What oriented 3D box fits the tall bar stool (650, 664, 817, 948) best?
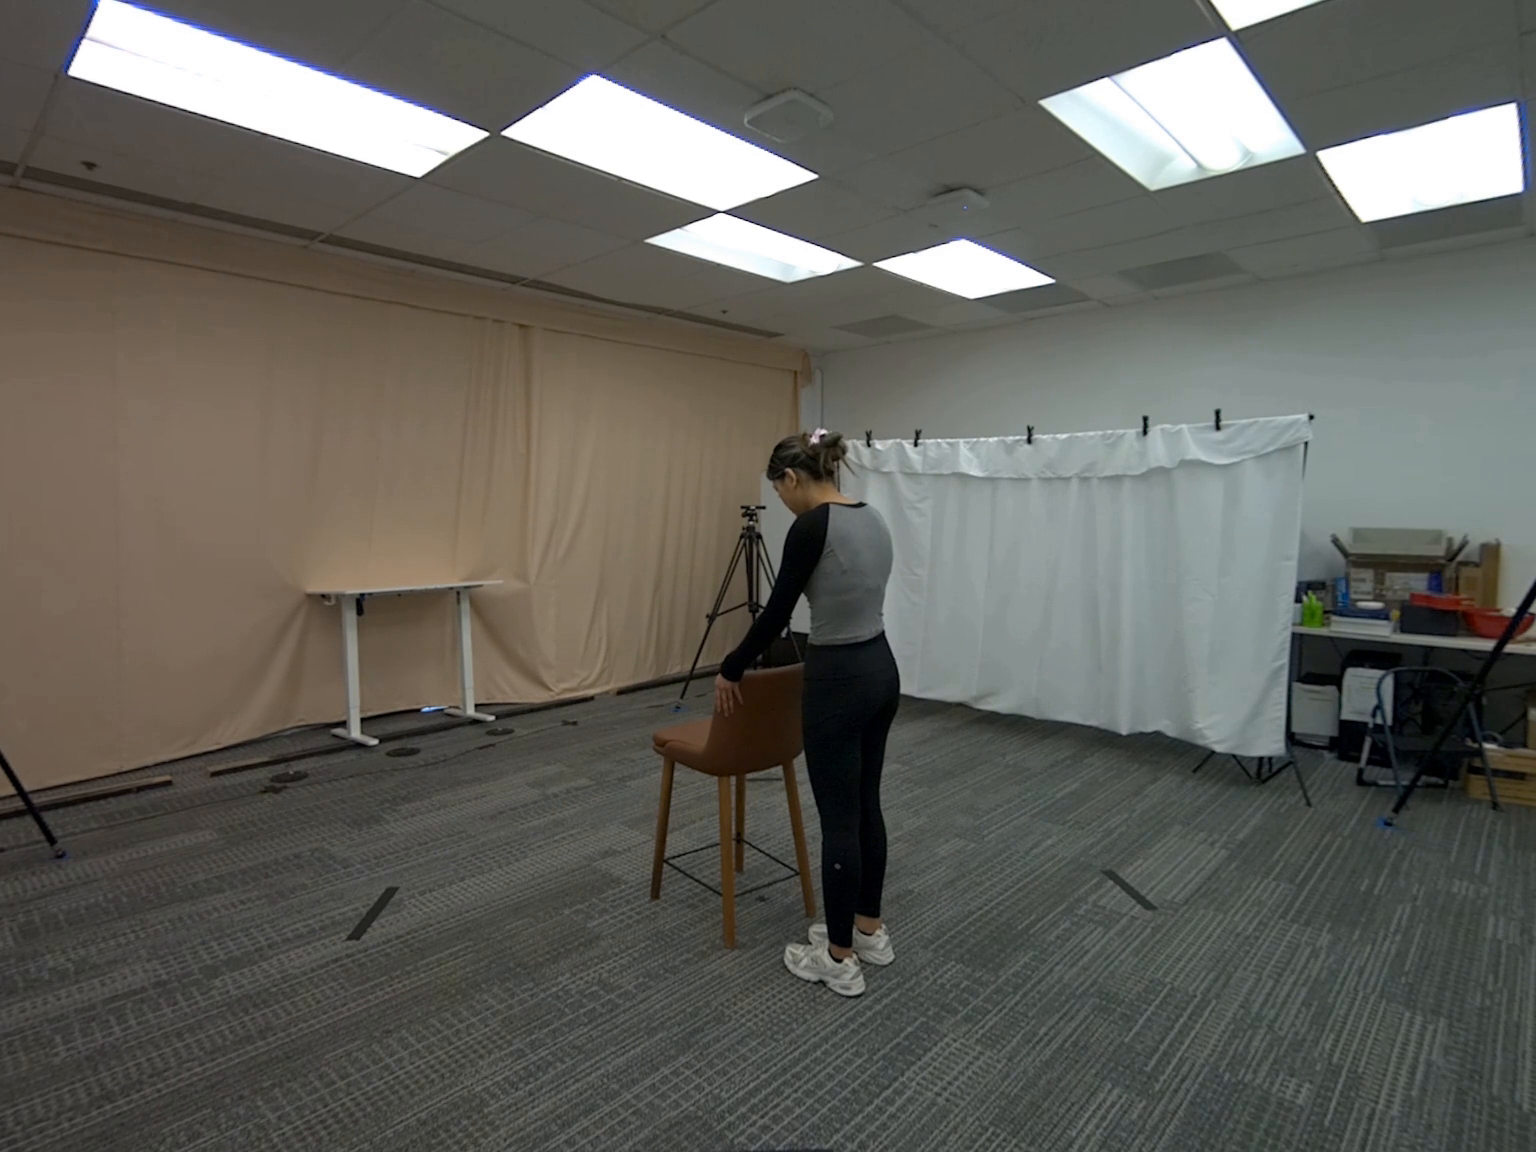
[{"bbox_3d":[-0.115,0.714,2.898,0.443,0.887,0.483,-2,6,-38],"label":"tall bar stool"}]
